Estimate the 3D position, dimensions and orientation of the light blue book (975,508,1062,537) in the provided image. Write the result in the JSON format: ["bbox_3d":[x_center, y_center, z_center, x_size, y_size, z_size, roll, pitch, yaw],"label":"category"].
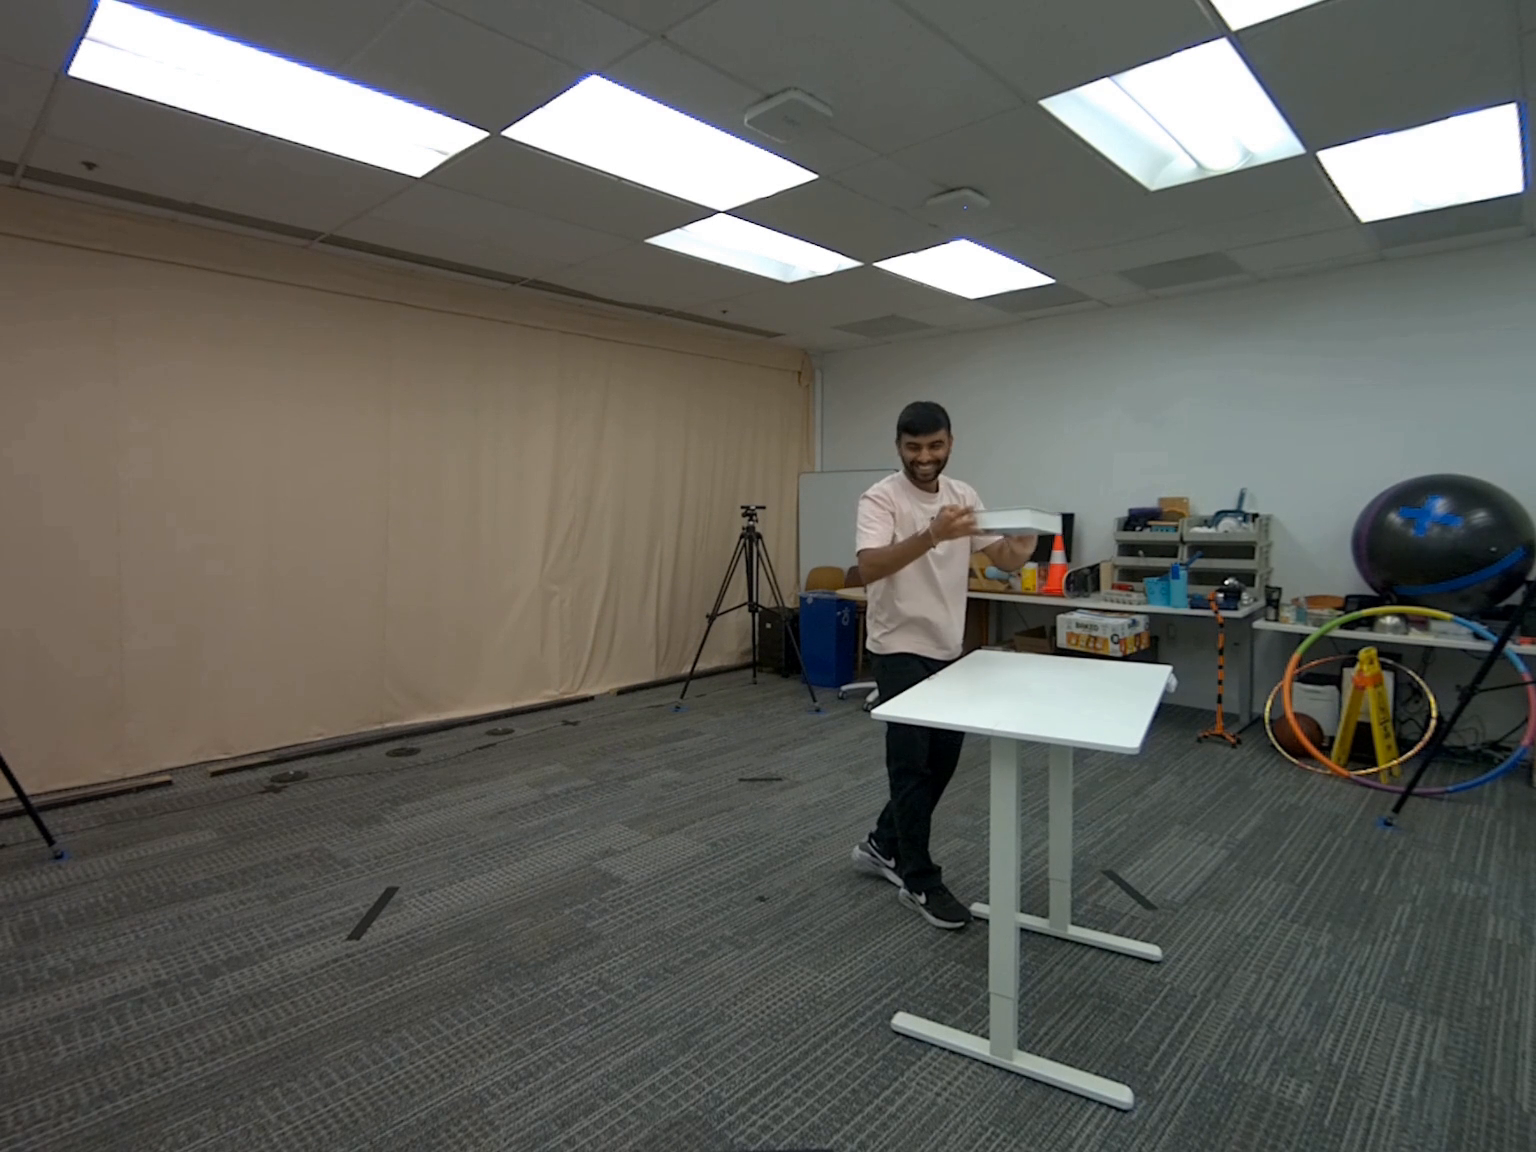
[{"bbox_3d":[0.703,-0.149,2.496,0.185,0.059,0.269,5,-5,-42],"label":"light blue book"}]
